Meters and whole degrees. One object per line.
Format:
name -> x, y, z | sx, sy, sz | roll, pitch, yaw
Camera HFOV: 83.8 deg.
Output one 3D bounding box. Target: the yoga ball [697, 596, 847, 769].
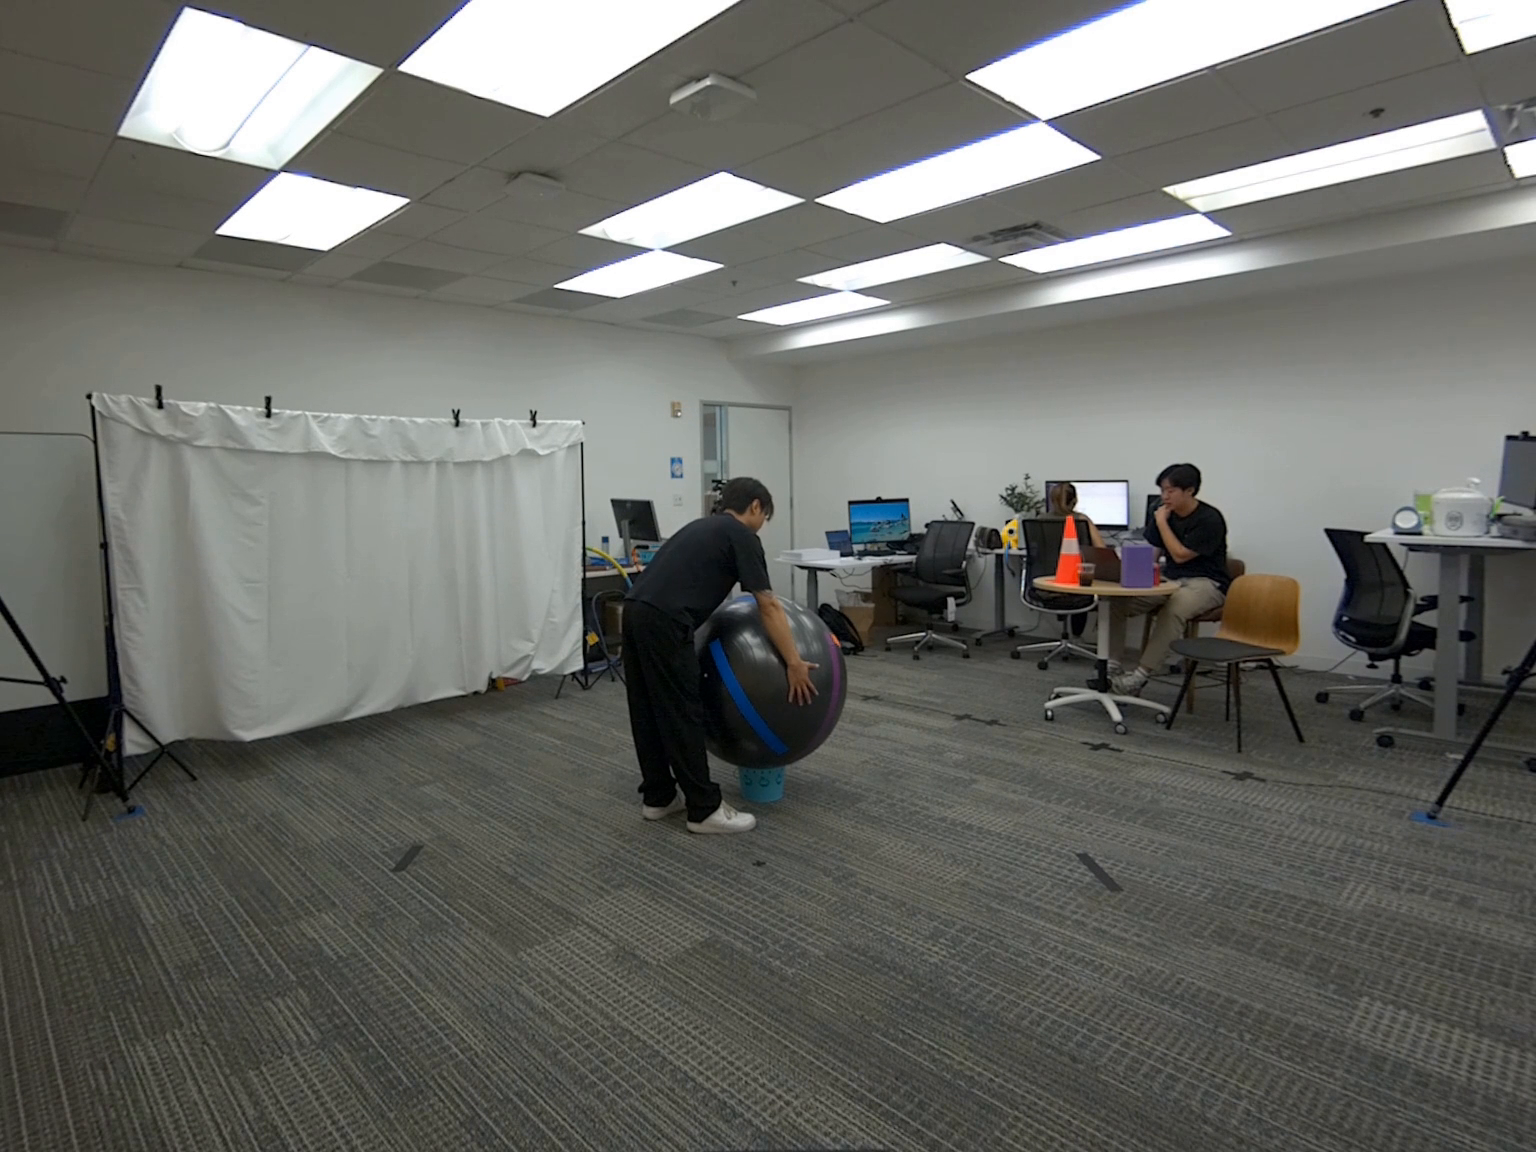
yoga ball -> -0.024, 0.461, 3.772 | 0.757, 0.755, 0.762 | -1, 5, -2
